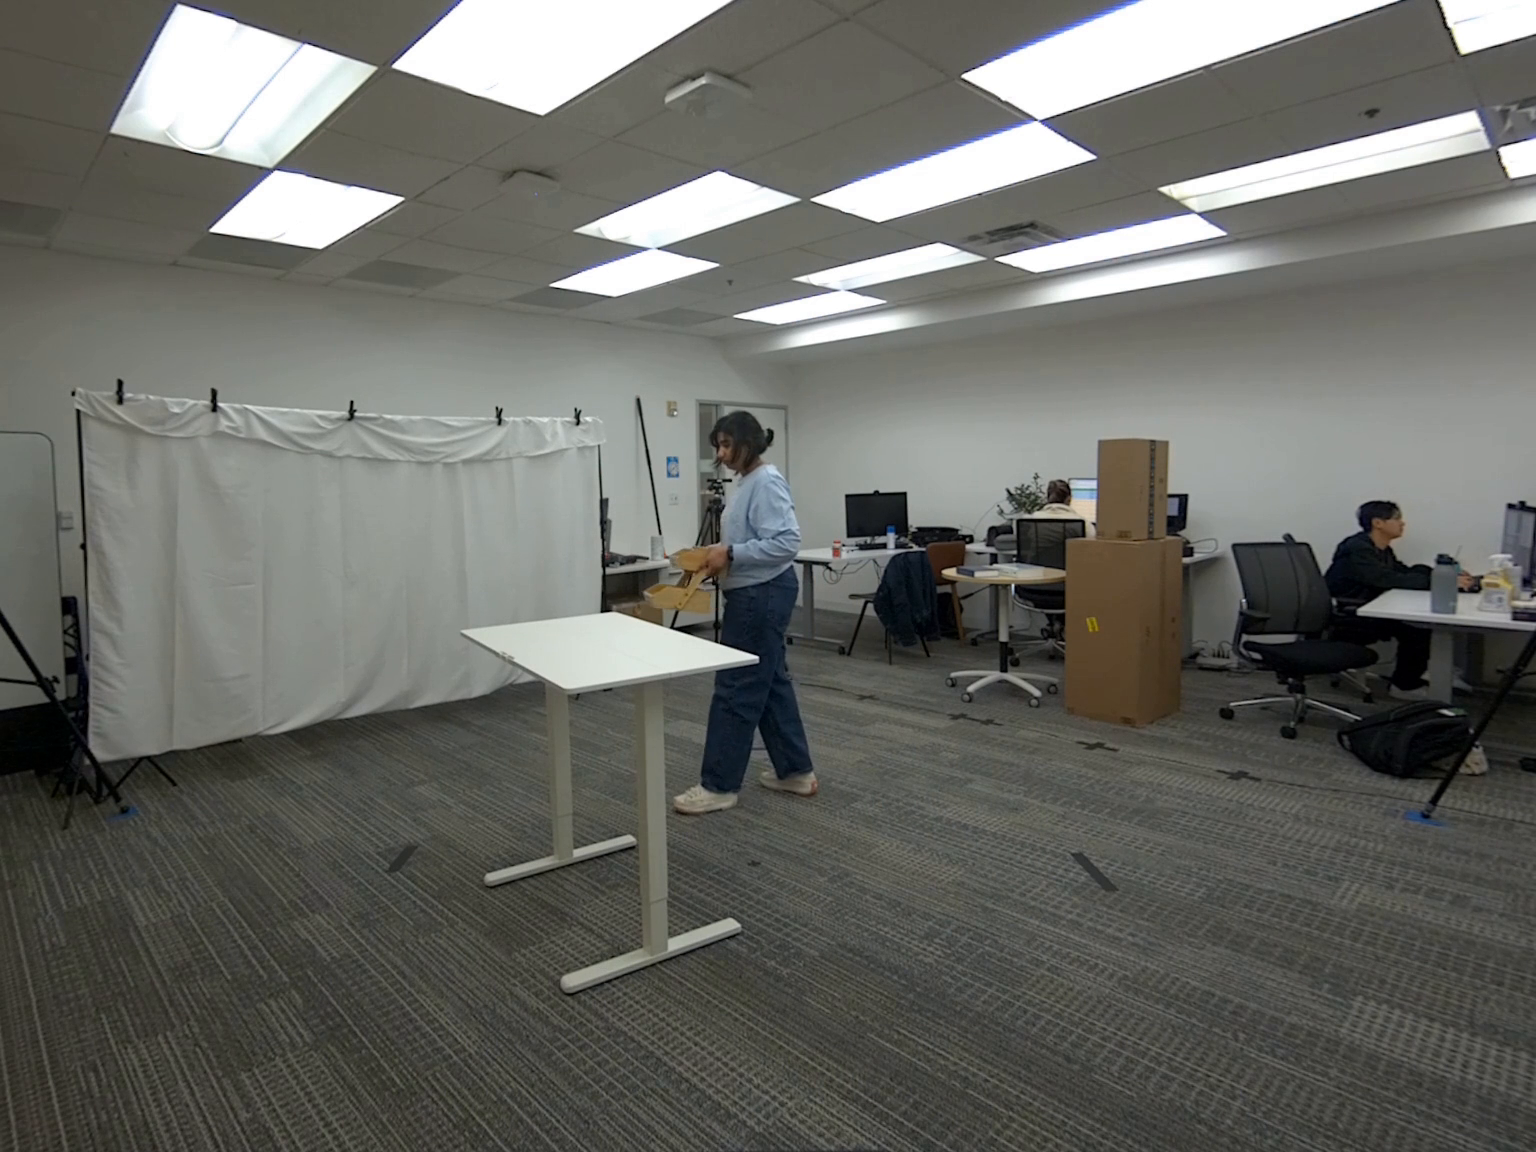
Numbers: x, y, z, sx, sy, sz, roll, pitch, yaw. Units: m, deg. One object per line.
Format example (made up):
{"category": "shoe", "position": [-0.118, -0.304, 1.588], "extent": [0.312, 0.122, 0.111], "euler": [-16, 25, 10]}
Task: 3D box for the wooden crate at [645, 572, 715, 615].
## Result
{"category": "wooden crate", "position": [-0.349, 0.002, 3.686], "extent": [0.298, 0.273, 0.328], "euler": [6, 0, -12]}
